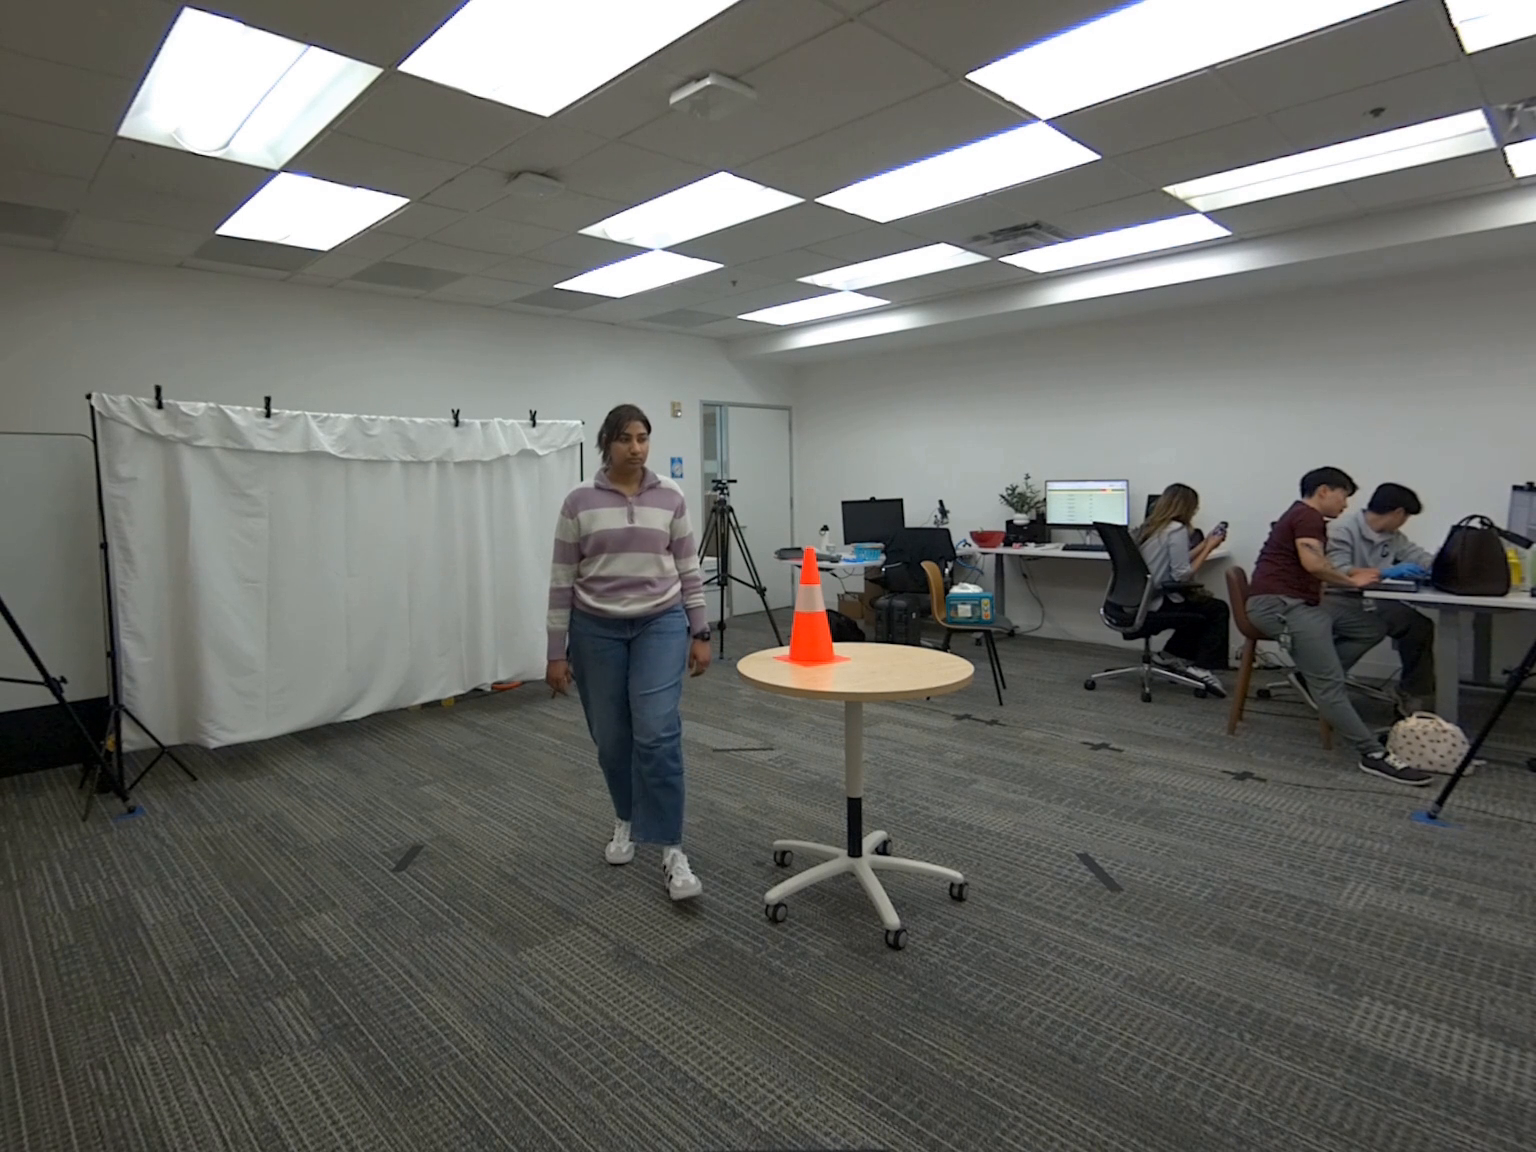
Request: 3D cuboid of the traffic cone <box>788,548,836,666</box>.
[{"bbox_3d":[0.141,0.096,2.898,0.209,0.382,0.199,2,5,45],"label":"traffic cone"}]
